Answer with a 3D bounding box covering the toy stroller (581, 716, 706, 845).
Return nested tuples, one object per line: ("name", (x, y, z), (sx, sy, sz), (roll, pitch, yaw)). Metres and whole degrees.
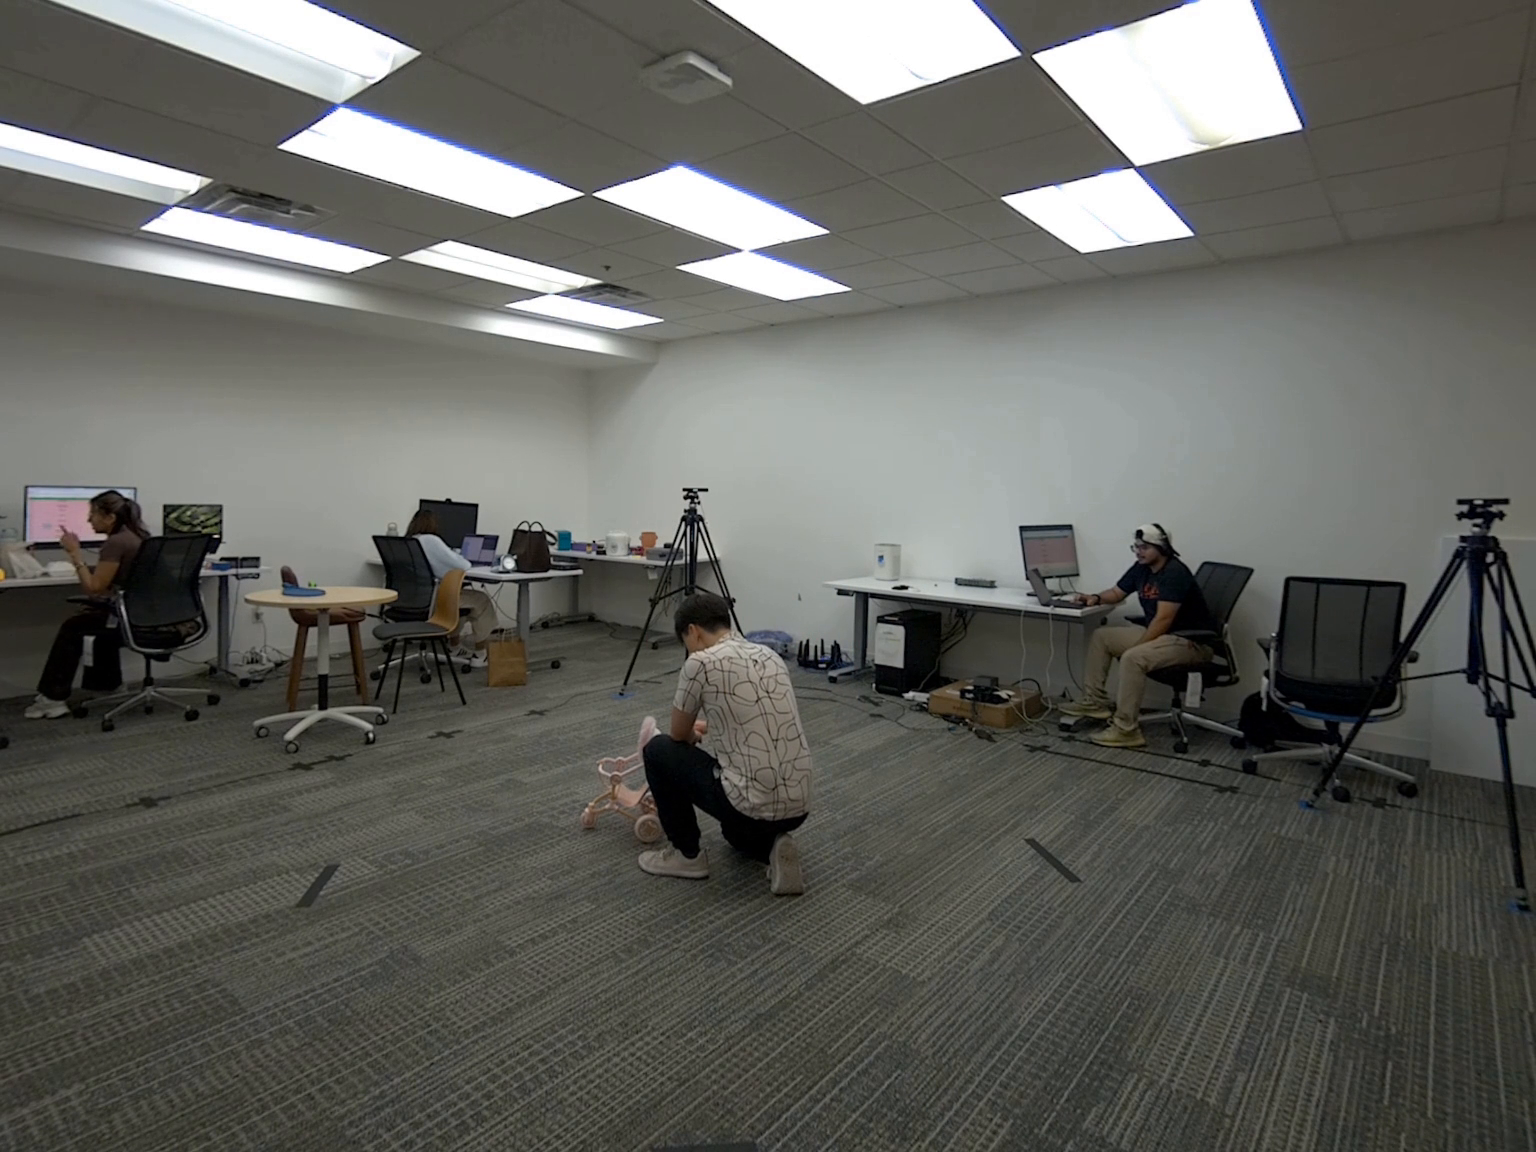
("toy stroller", (-0.546, 0.810, 3.458), (0.342, 0.534, 0.281), (20, 3, 1))
